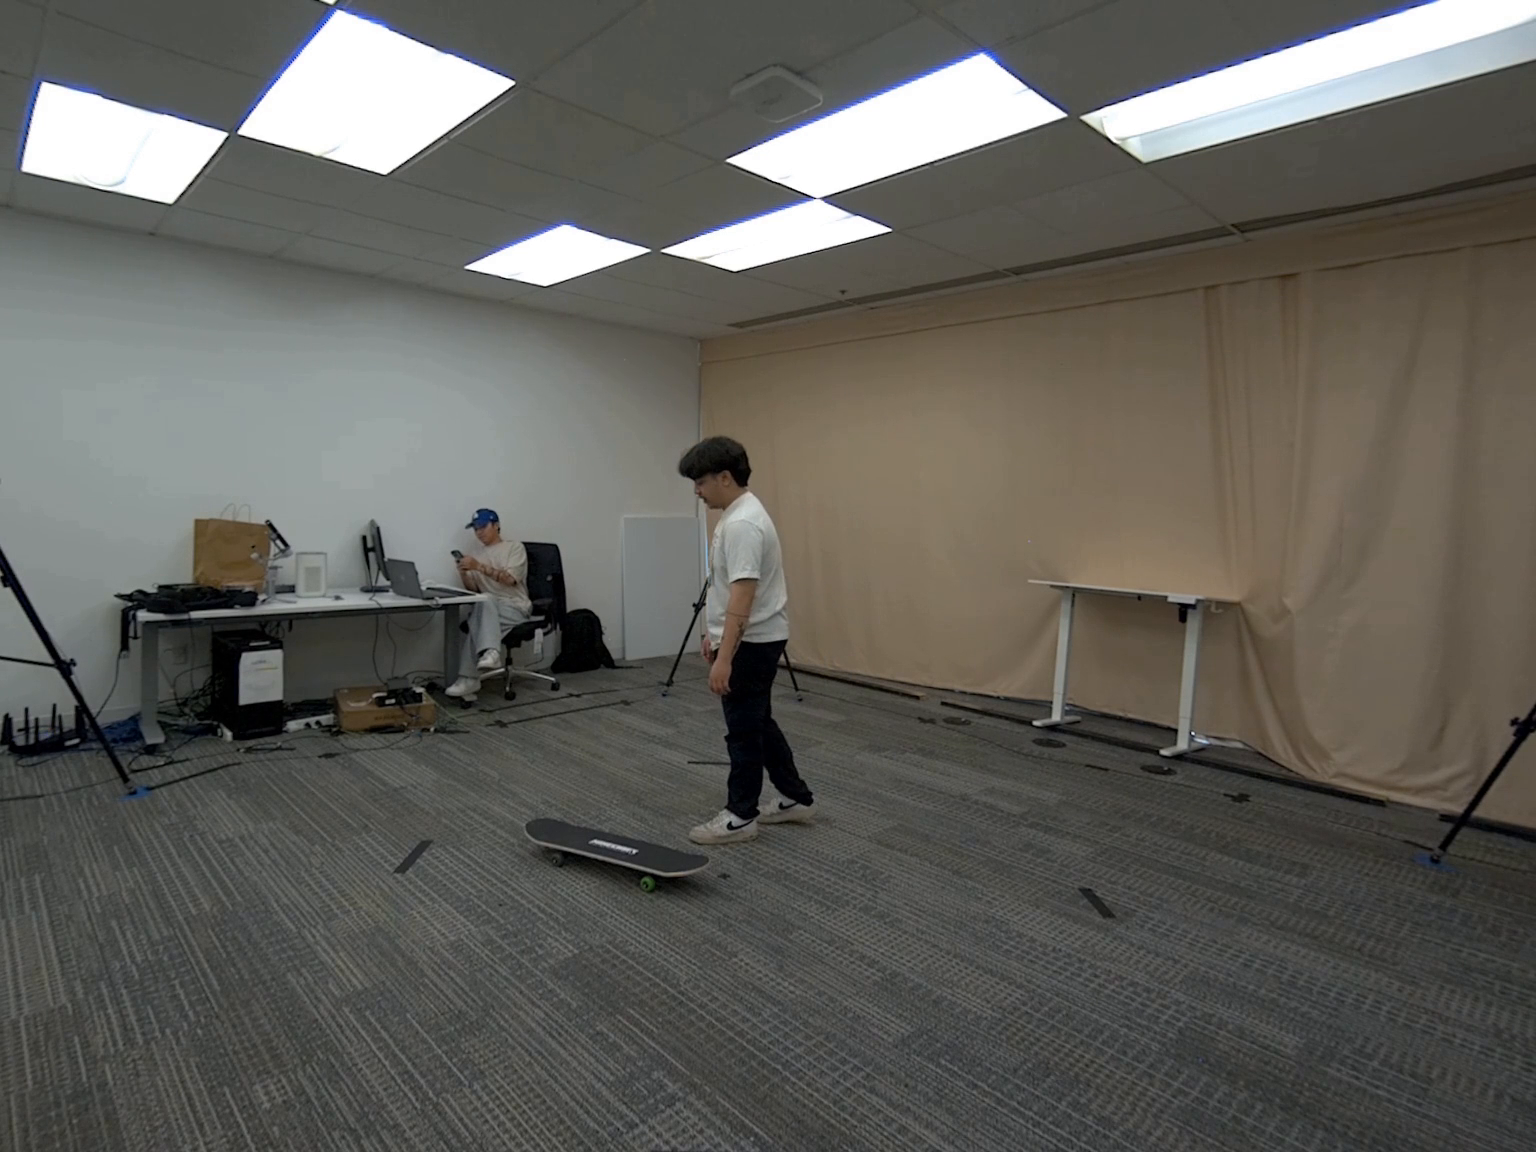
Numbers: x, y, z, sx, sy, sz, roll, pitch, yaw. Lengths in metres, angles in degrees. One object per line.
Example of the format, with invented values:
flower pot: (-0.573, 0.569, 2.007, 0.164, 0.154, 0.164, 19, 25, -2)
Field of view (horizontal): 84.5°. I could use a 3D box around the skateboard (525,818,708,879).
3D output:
skateboard: (-0.578, 1.037, 3.130, 0.801, 0.110, 0.190, 4, 6, 26)
